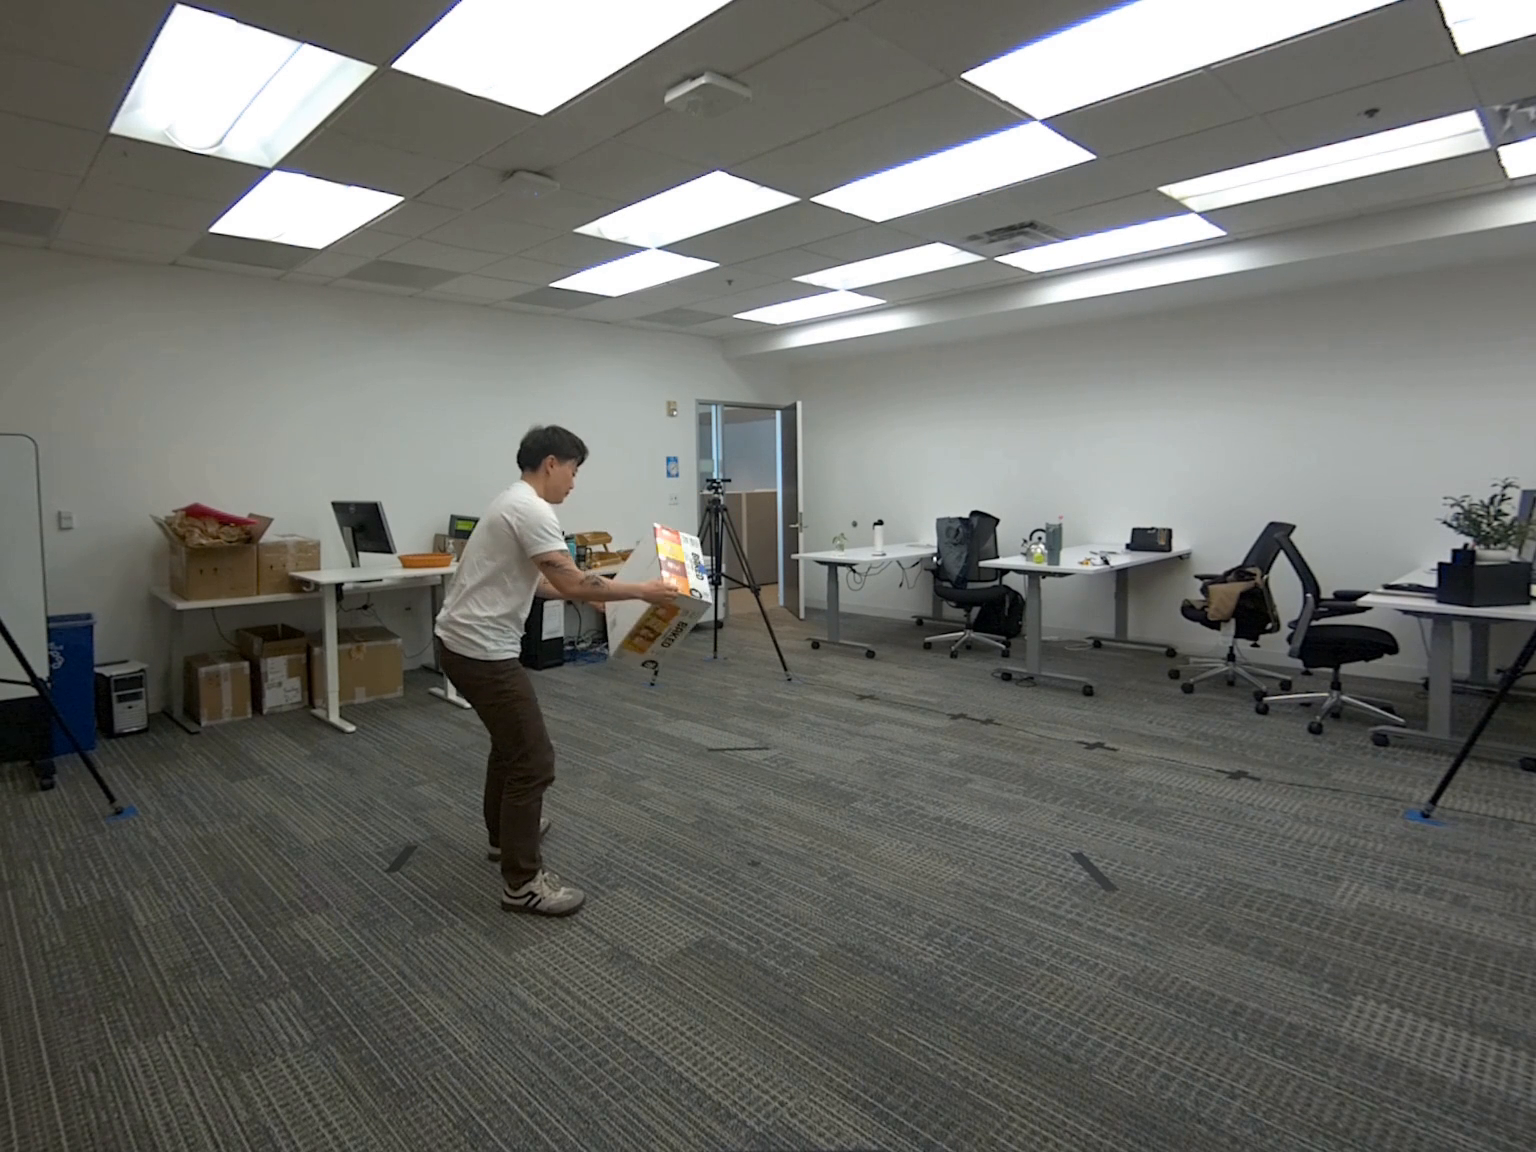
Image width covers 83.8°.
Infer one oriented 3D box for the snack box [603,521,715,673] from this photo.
[{"bbox_3d":[-0.421,0.079,3.187,0.199,0.404,0.352,19,37,-31],"label":"snack box"}]
